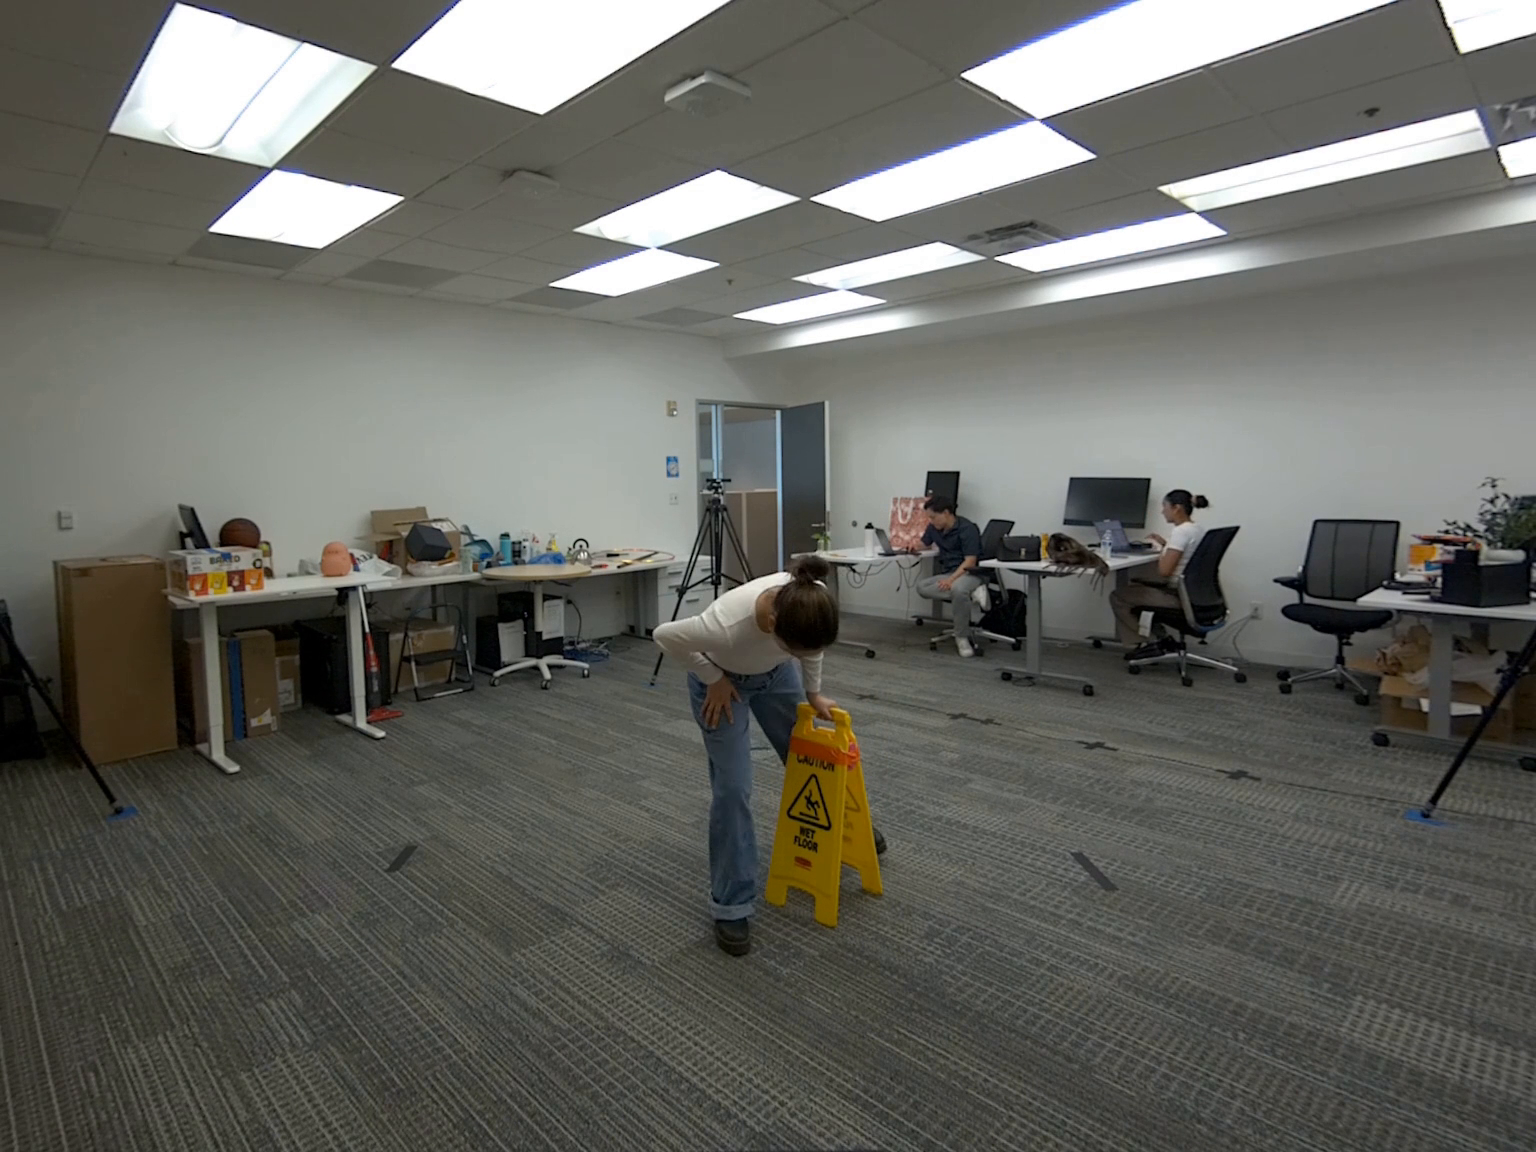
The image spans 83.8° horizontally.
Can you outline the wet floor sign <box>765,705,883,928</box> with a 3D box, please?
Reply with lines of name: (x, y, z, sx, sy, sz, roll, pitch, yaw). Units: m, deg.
wet floor sign: (0.188, 0.751, 2.825, 0.291, 0.643, 0.282, 3, 6, 41)
